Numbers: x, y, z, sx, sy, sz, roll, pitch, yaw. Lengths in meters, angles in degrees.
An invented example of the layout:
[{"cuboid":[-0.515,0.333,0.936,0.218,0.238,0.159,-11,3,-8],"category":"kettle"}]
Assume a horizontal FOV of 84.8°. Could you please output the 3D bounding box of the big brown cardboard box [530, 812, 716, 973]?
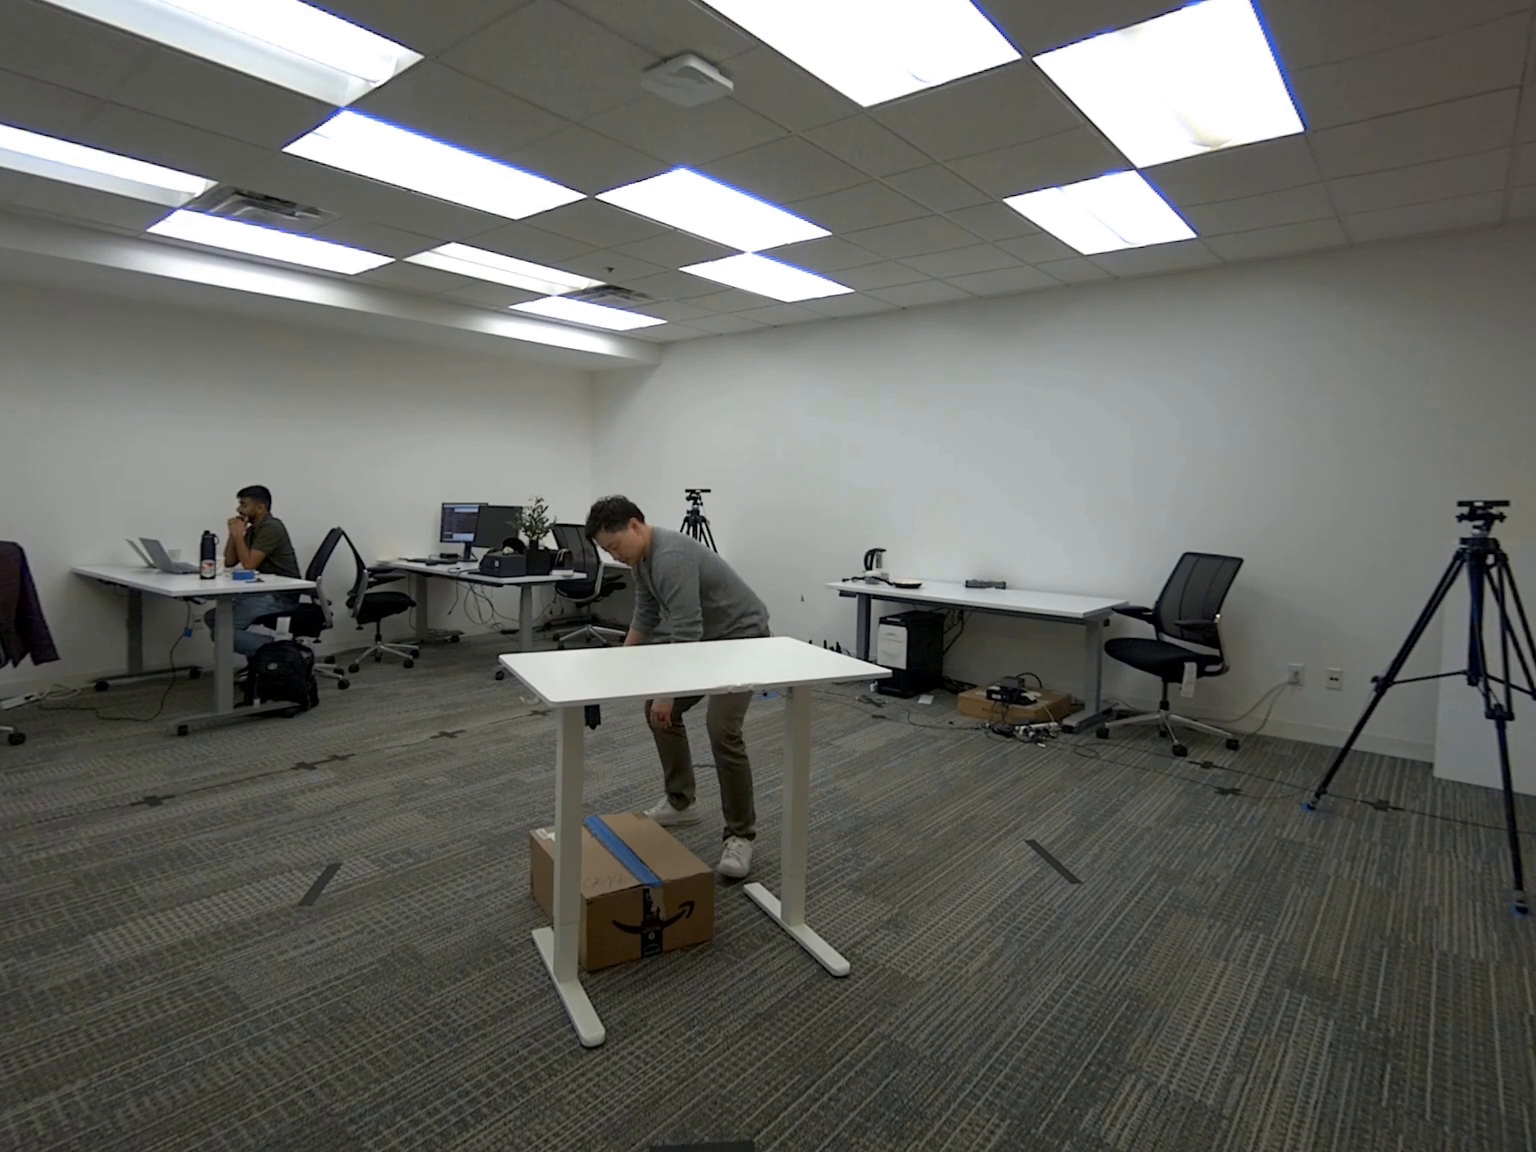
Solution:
[{"cuboid":[-0.505,0.989,2.764,0.406,0.232,0.608,-2,6,-31],"category":"big brown cardboard box"}]
